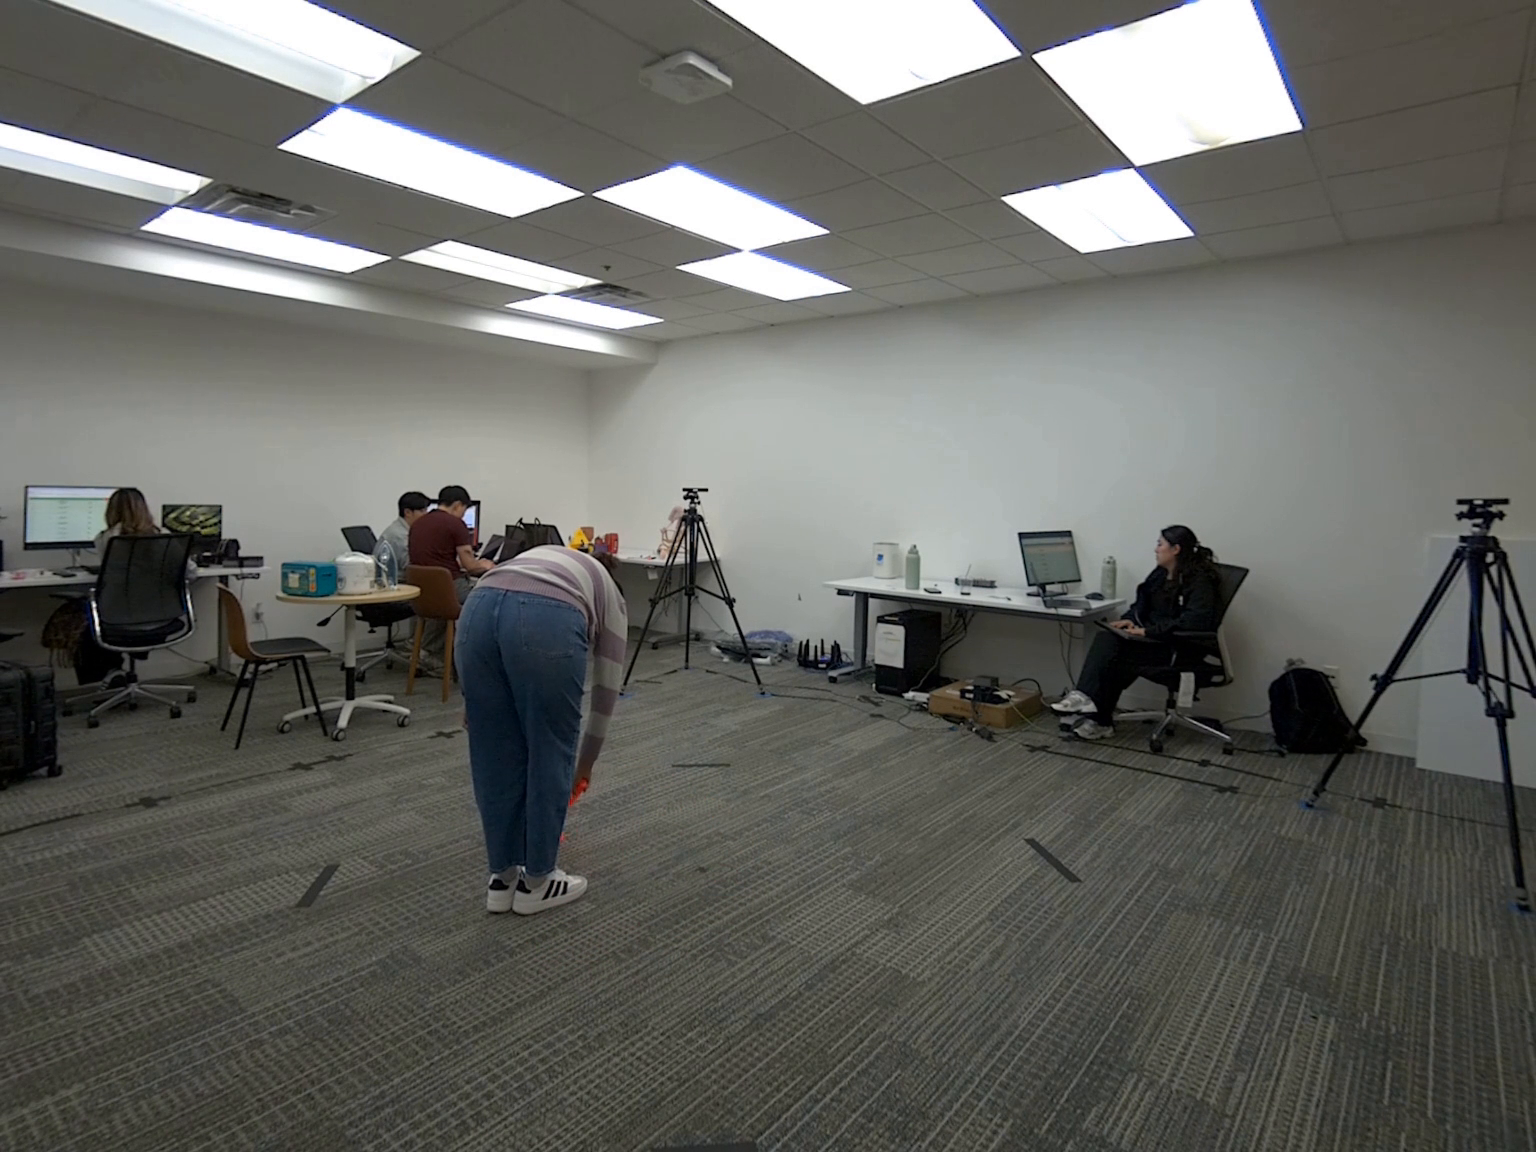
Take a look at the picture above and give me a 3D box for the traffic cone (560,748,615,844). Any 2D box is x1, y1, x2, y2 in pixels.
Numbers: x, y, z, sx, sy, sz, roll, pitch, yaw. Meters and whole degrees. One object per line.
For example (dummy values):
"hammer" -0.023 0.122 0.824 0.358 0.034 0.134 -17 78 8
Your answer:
"traffic cone" -0.792 0.847 3.214 0.196 0.212 0.384 9 -43 -40
